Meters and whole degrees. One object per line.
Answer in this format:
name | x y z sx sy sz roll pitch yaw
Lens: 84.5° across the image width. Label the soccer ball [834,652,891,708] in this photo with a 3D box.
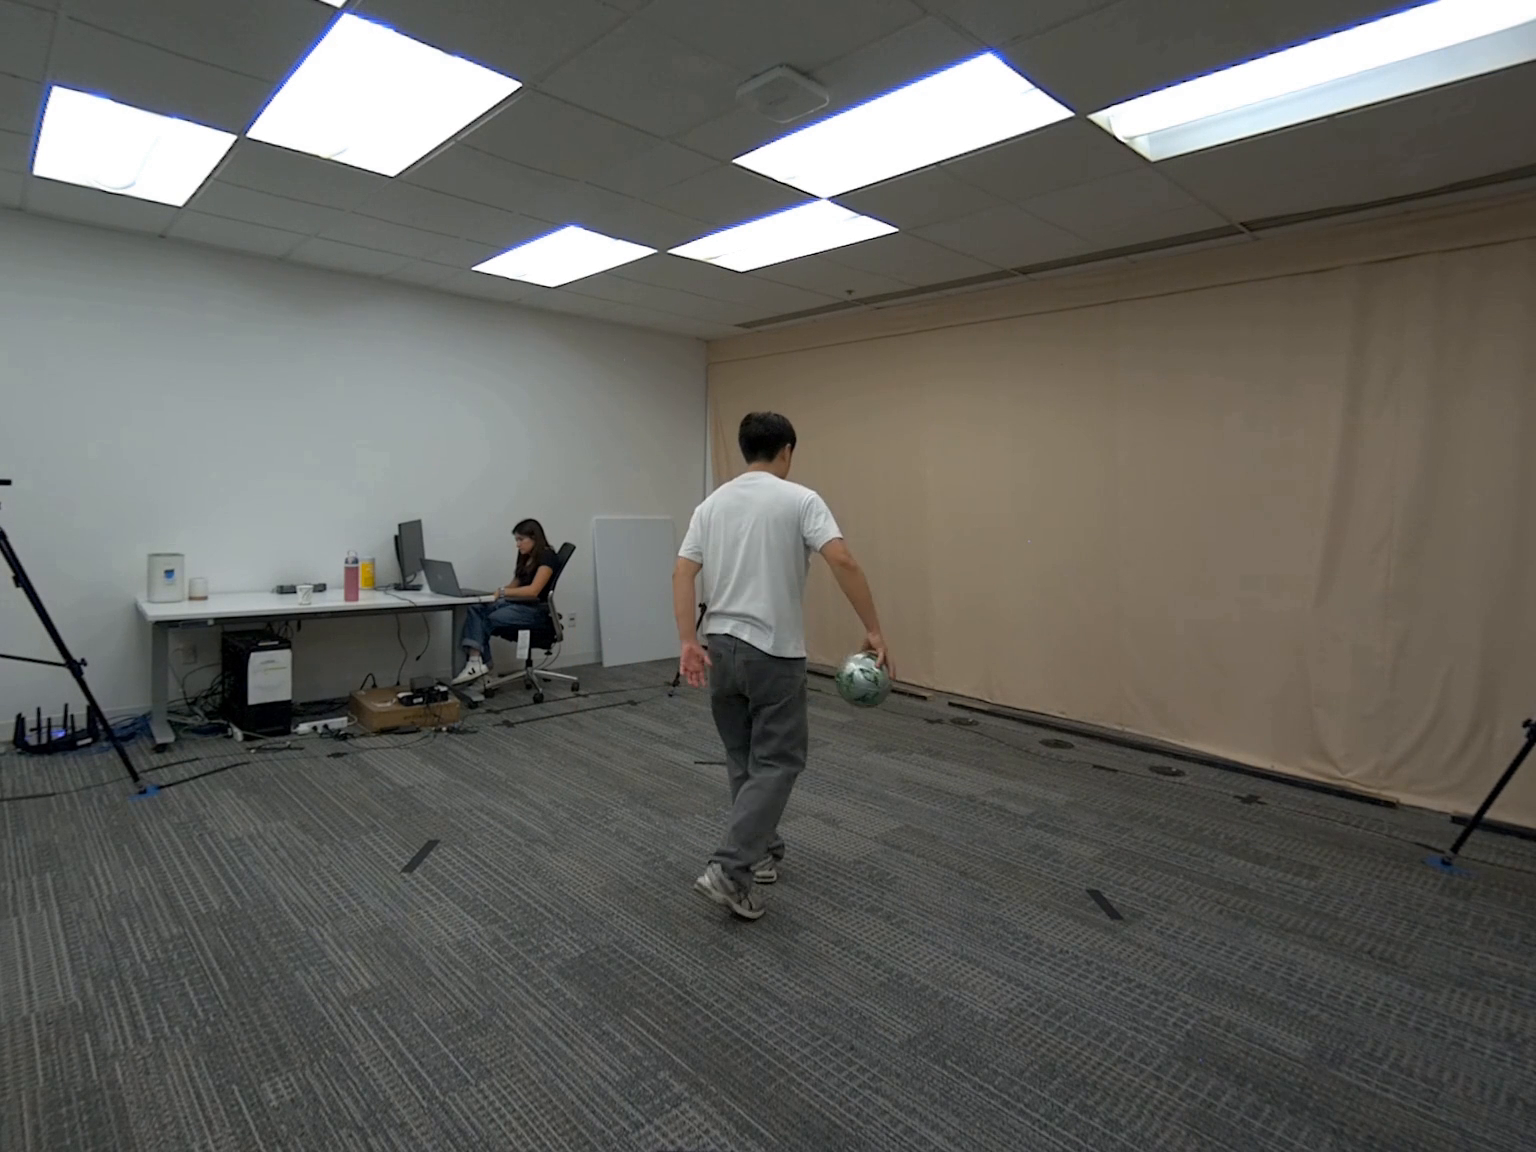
soccer ball | 0.293 0.329 2.791 0.187 0.187 0.188 1 4 -1
